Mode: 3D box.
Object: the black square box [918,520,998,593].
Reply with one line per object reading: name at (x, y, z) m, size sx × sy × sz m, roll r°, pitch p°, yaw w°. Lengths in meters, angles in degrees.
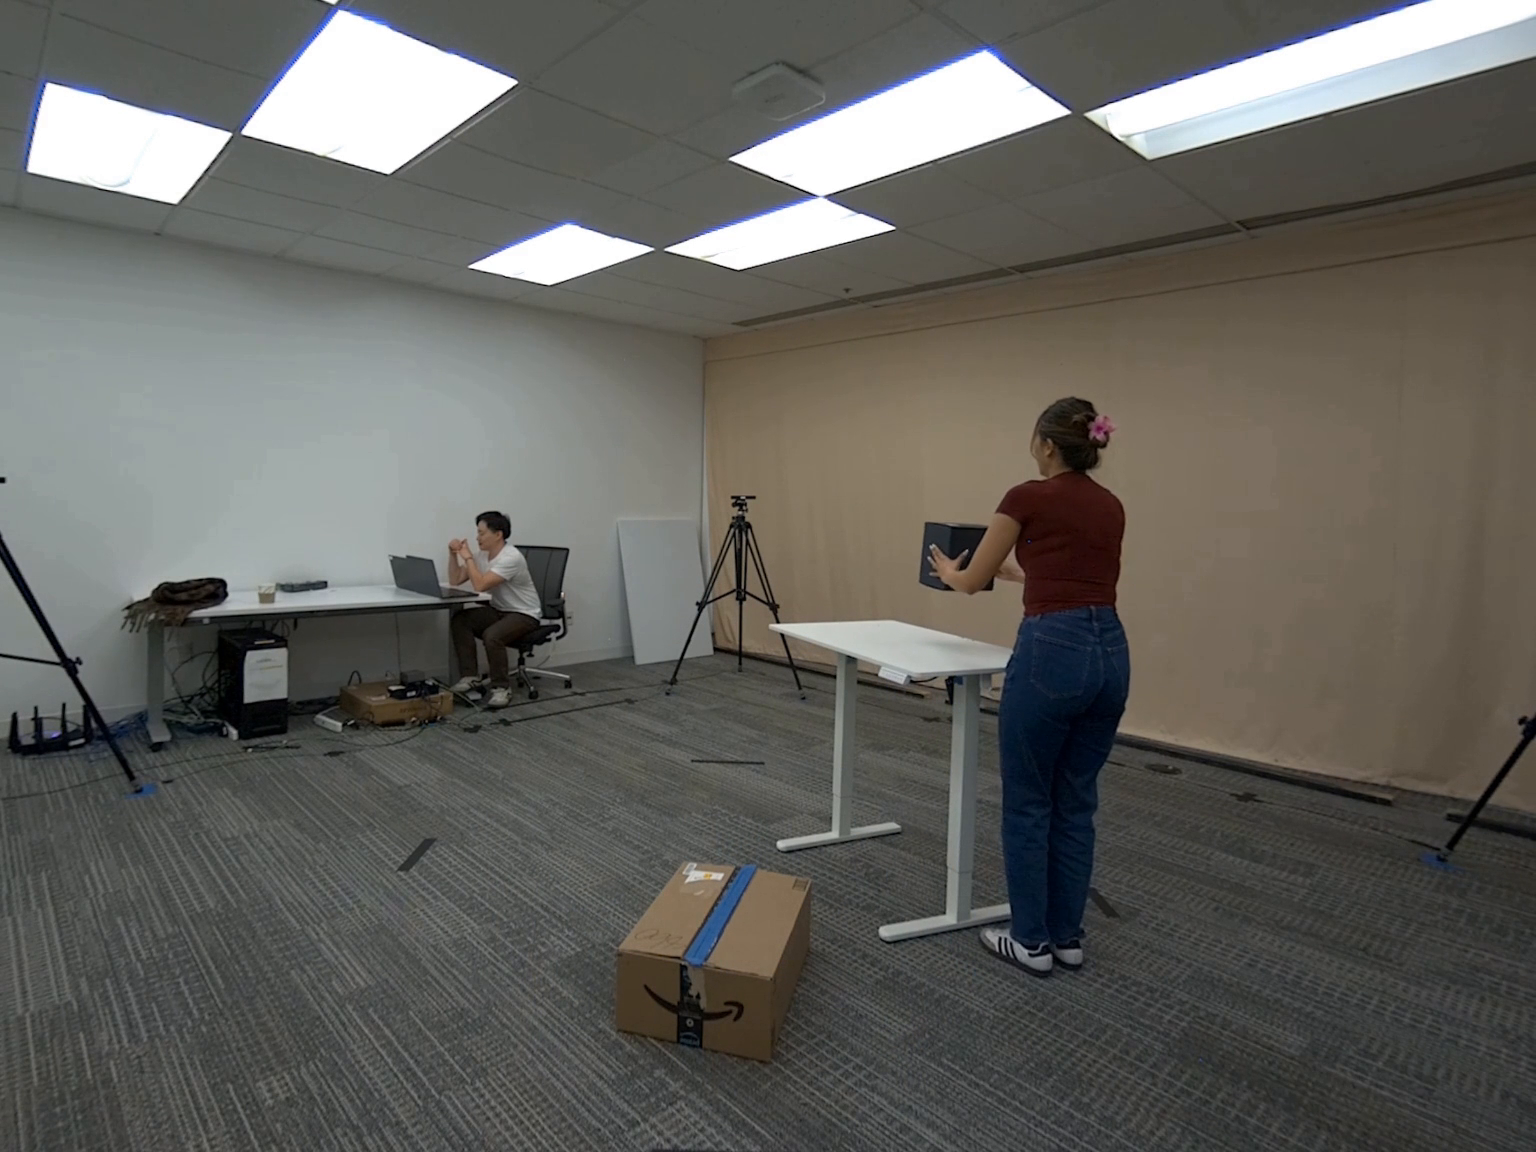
black square box at (0.689, -0.073, 3.029) m, size 0.213 × 0.227 × 0.159 m, roll 2°, pitch 8°, yaw -24°
